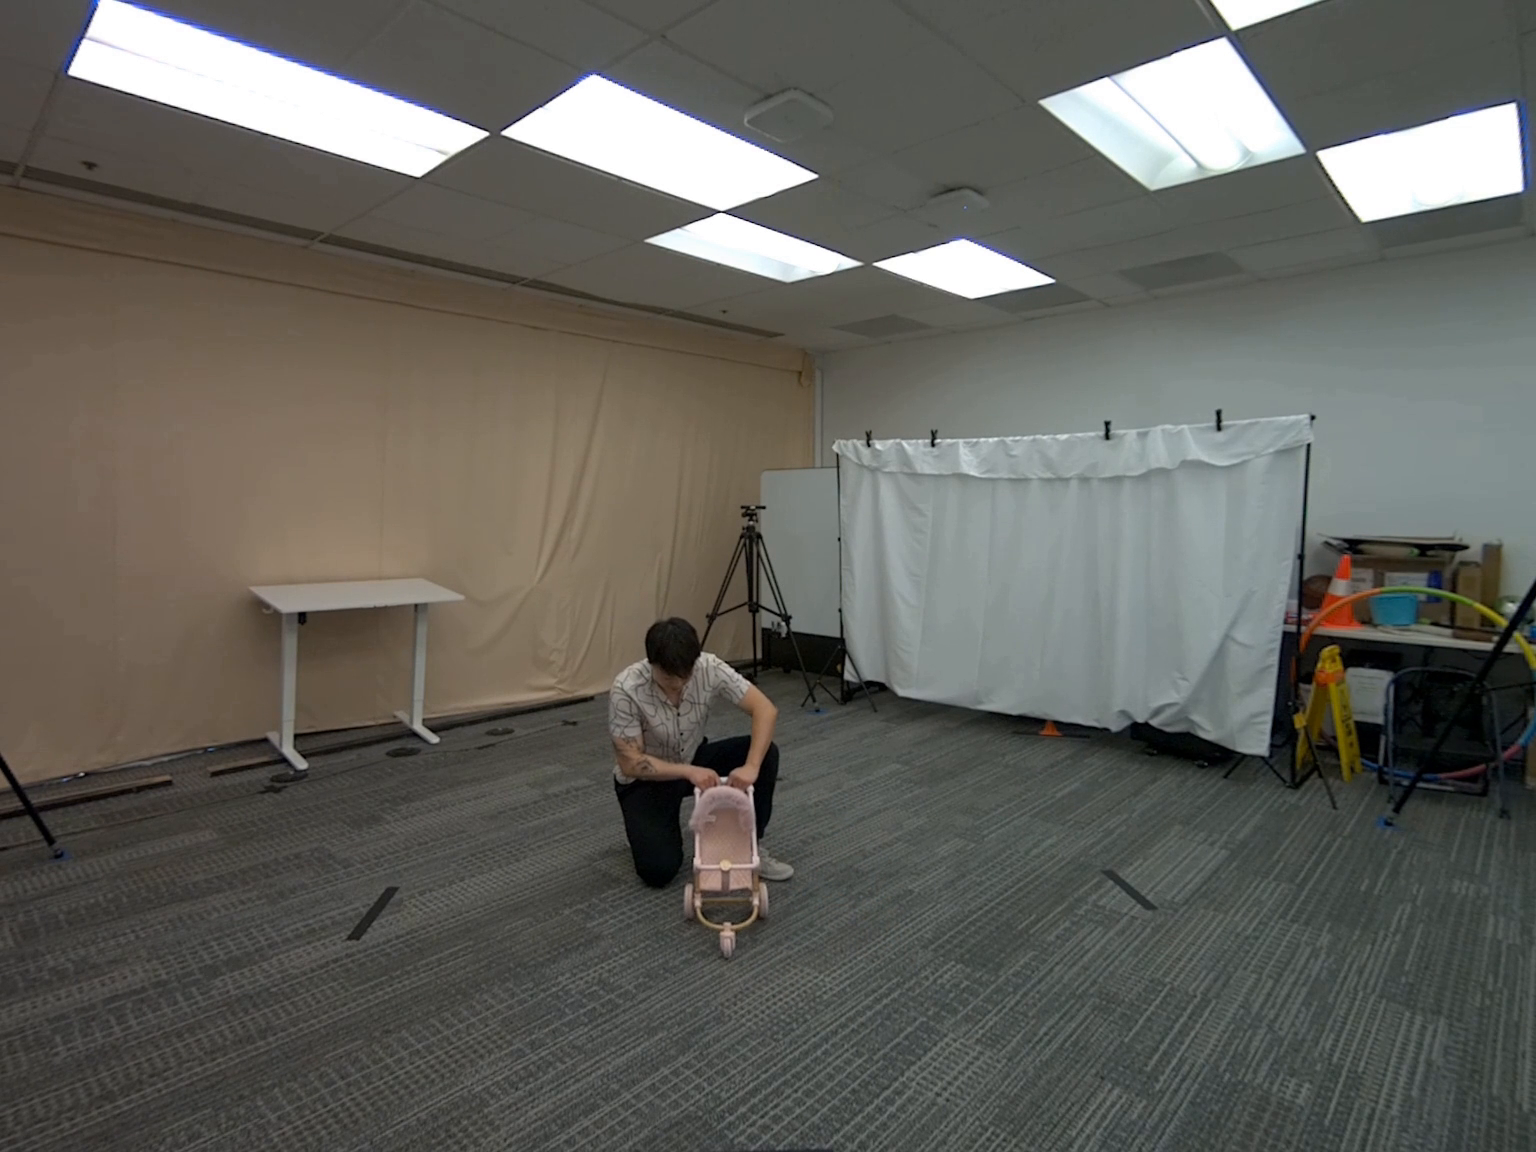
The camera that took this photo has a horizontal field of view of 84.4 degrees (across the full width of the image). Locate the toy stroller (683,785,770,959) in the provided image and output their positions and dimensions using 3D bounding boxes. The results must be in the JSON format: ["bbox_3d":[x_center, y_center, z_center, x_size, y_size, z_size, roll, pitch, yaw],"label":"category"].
[{"bbox_3d":[-0.142,0.933,2.779,0.282,0.539,0.338,-1,-13,0],"label":"toy stroller"}]
